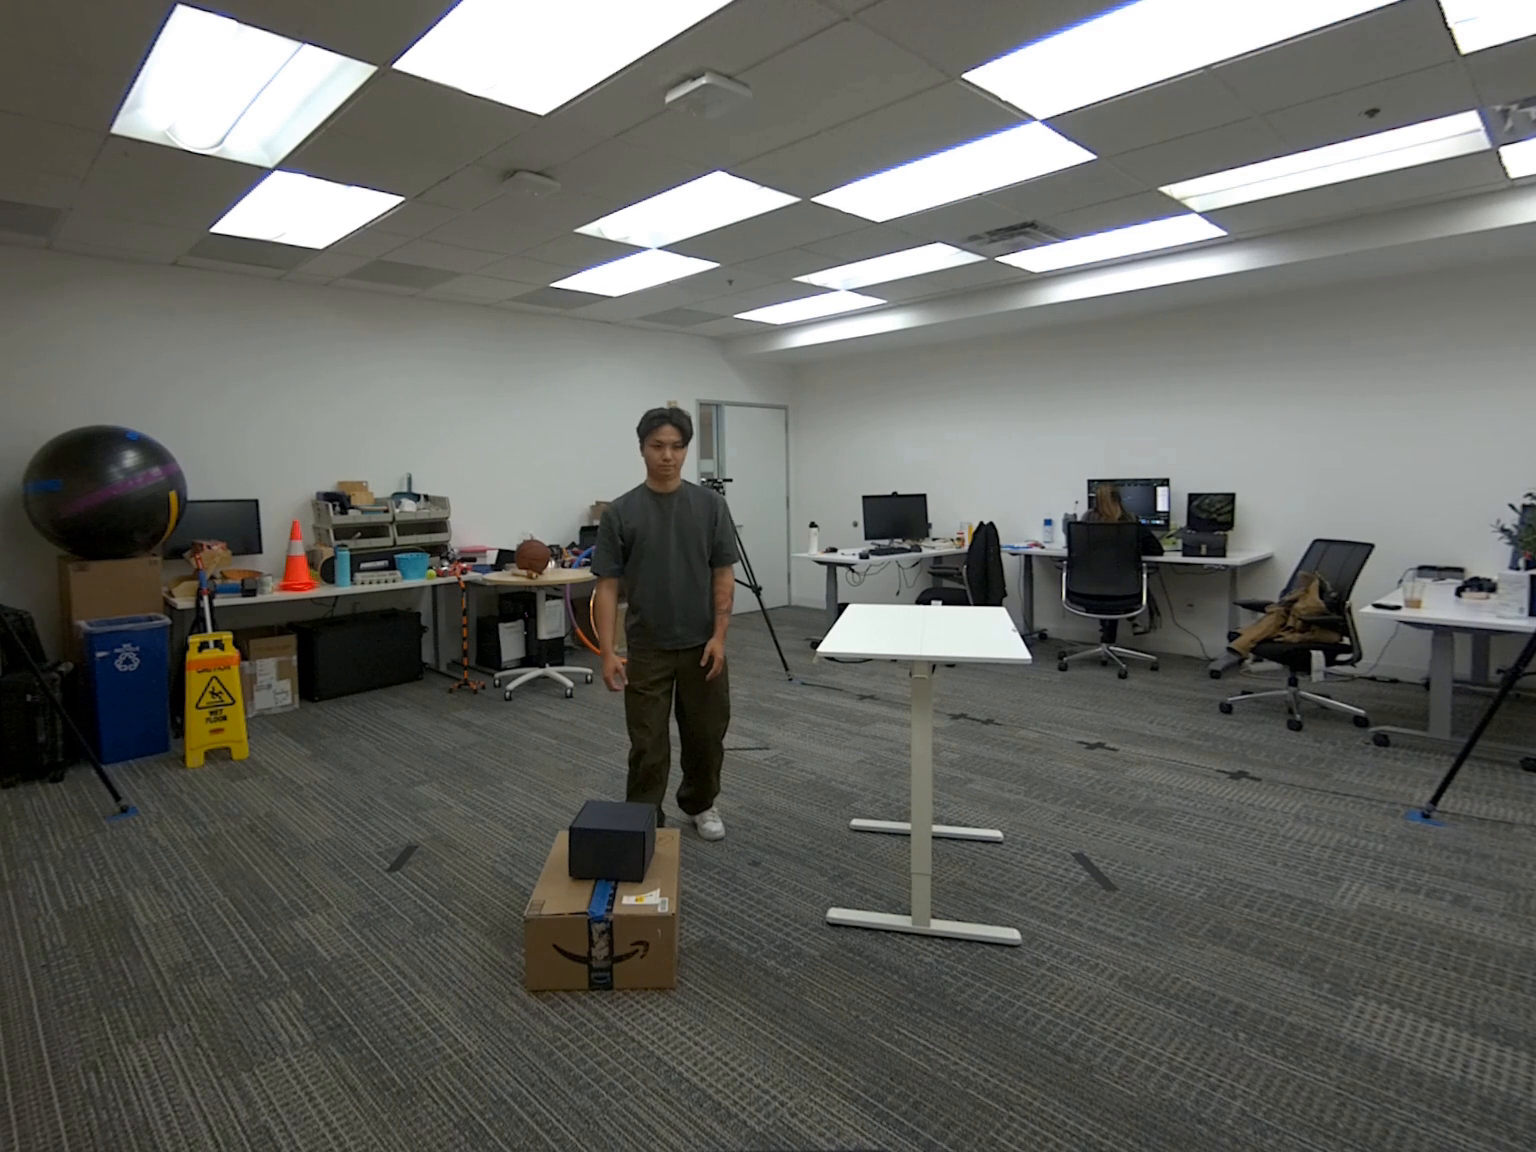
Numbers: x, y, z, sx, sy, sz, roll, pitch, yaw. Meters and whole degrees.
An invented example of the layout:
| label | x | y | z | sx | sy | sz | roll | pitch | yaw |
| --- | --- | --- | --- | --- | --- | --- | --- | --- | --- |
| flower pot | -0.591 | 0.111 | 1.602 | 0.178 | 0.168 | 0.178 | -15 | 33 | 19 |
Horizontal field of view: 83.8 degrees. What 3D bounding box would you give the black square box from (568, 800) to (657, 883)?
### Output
| label | x | y | z | sx | sy | sz | roll | pitch | yaw |
| --- | --- | --- | --- | --- | --- | --- | --- | --- | --- |
| black square box | -0.475 | 0.807 | 2.628 | 0.229 | 0.155 | 0.217 | 0 | 6 | 2 |
